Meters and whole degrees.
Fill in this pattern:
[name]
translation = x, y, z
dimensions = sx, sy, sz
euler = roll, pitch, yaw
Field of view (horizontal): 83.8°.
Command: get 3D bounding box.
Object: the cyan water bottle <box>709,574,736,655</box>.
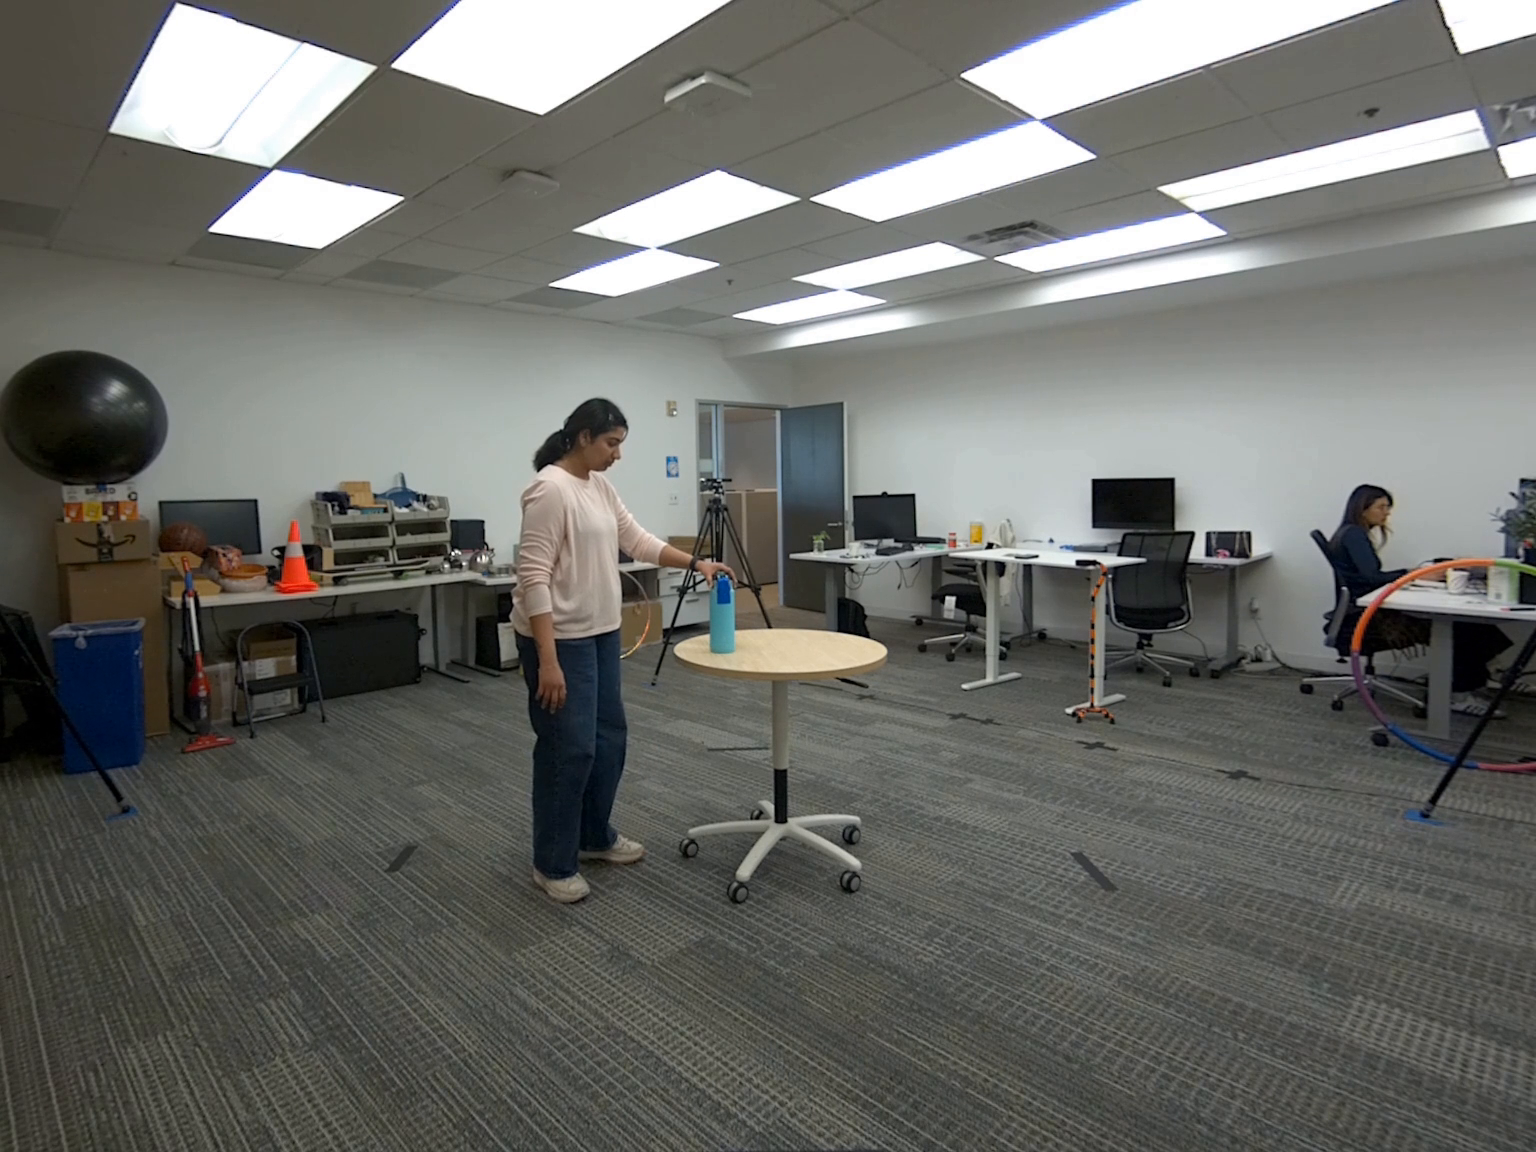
[cyan water bottle]
translation = -0.165, 0.129, 3.032
dimensions = 0.092, 0.282, 0.093
euler = -1, 4, -2
